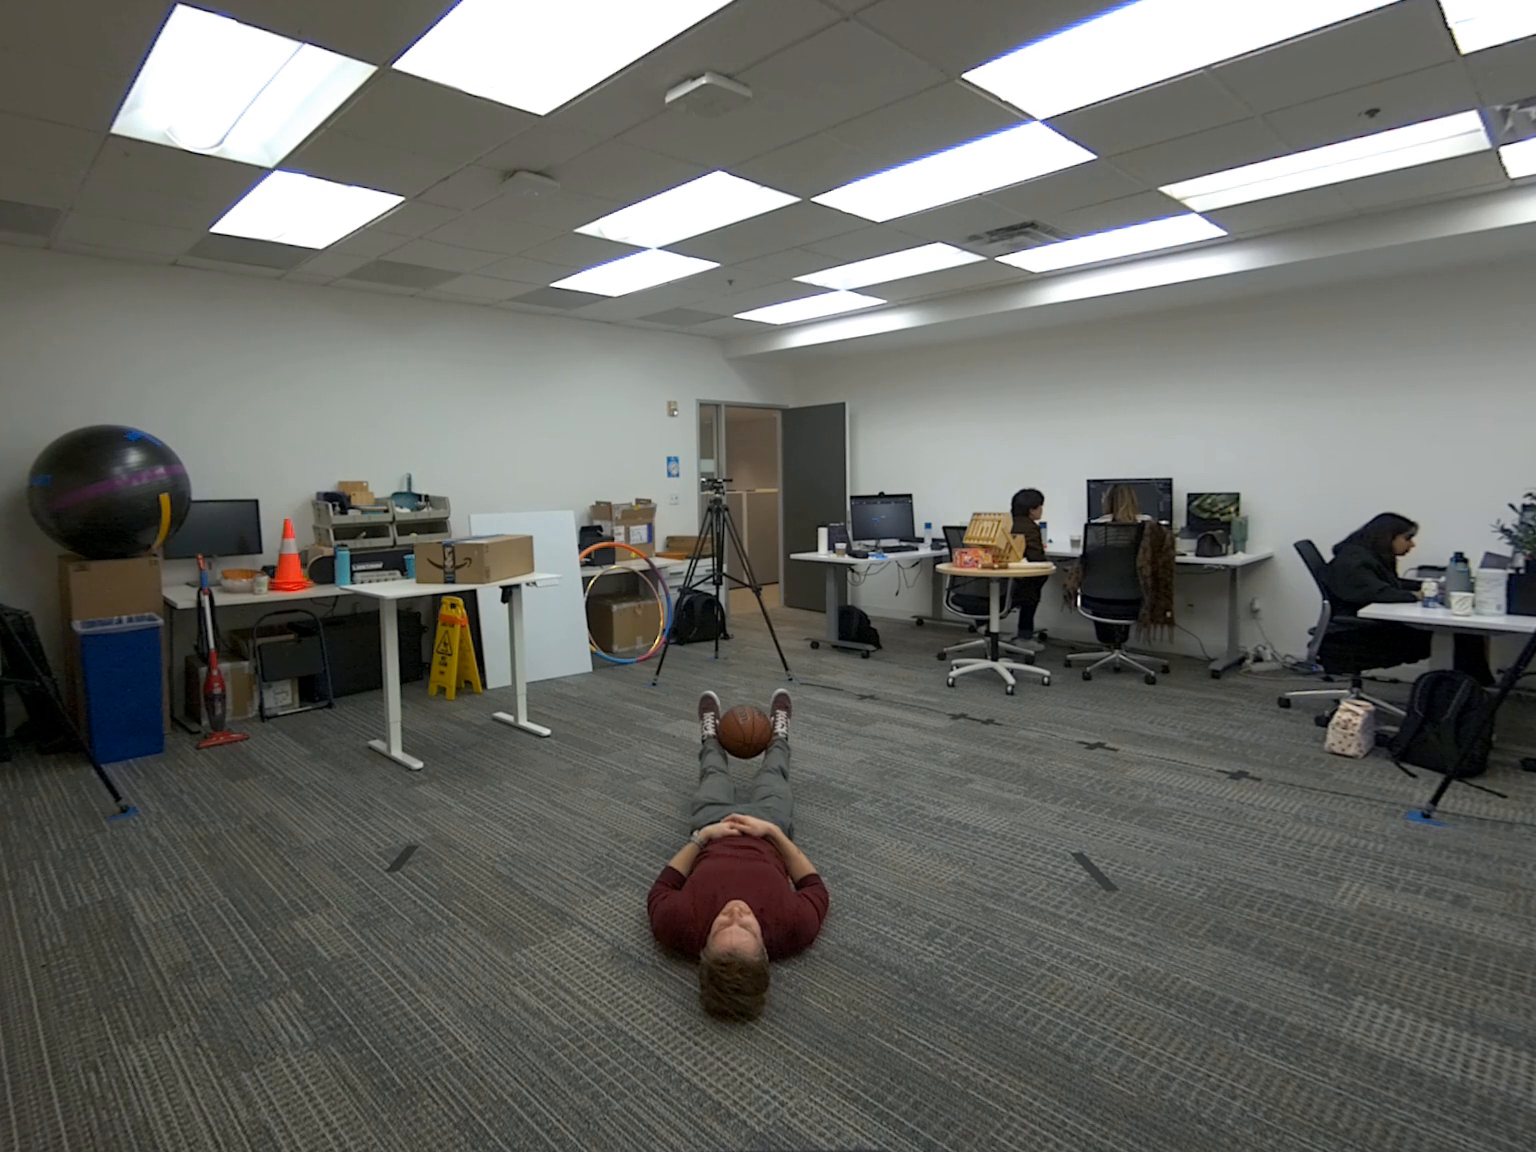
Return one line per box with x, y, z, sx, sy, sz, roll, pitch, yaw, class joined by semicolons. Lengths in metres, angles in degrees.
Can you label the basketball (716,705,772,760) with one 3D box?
-0.100;0.688;3.815;0.236;0.236;0.236;0;1;-2;basketball
